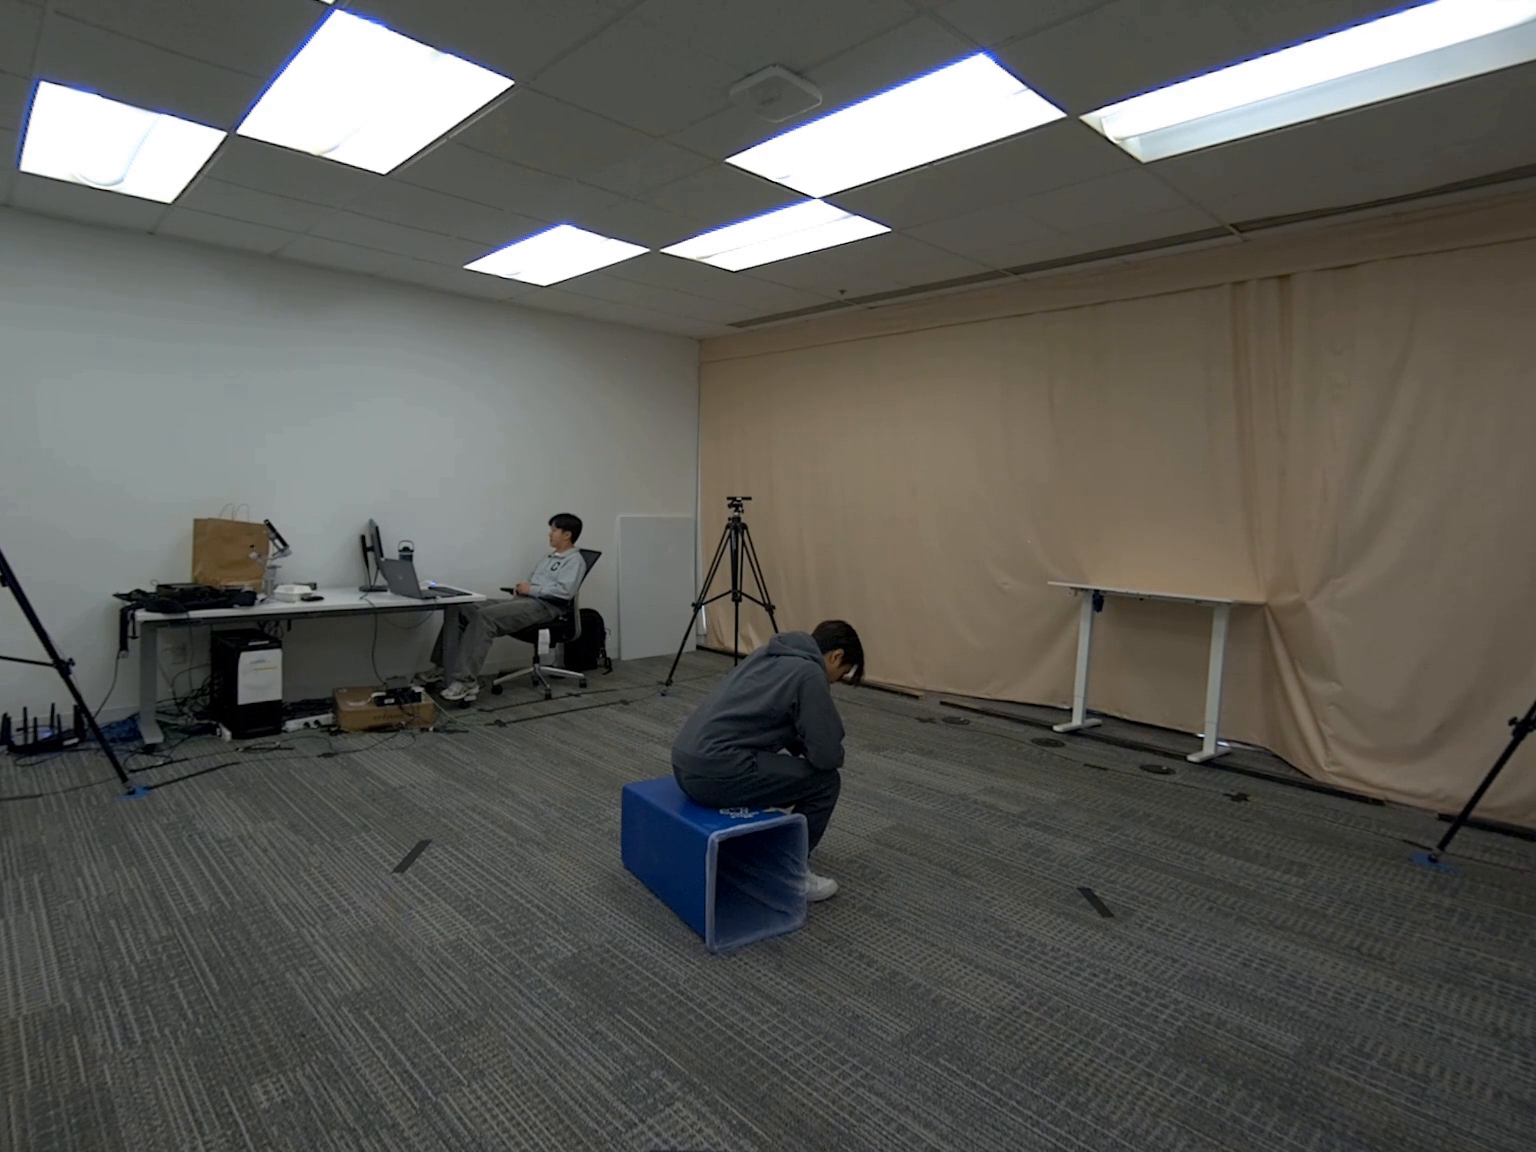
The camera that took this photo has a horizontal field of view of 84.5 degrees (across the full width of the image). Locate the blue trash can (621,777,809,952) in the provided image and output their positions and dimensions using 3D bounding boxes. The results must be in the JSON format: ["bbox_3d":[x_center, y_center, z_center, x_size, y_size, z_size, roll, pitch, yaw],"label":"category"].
[{"bbox_3d":[-0.238,0.951,2.938,0.366,0.378,0.730,-1,2,-35],"label":"blue trash can"}]
